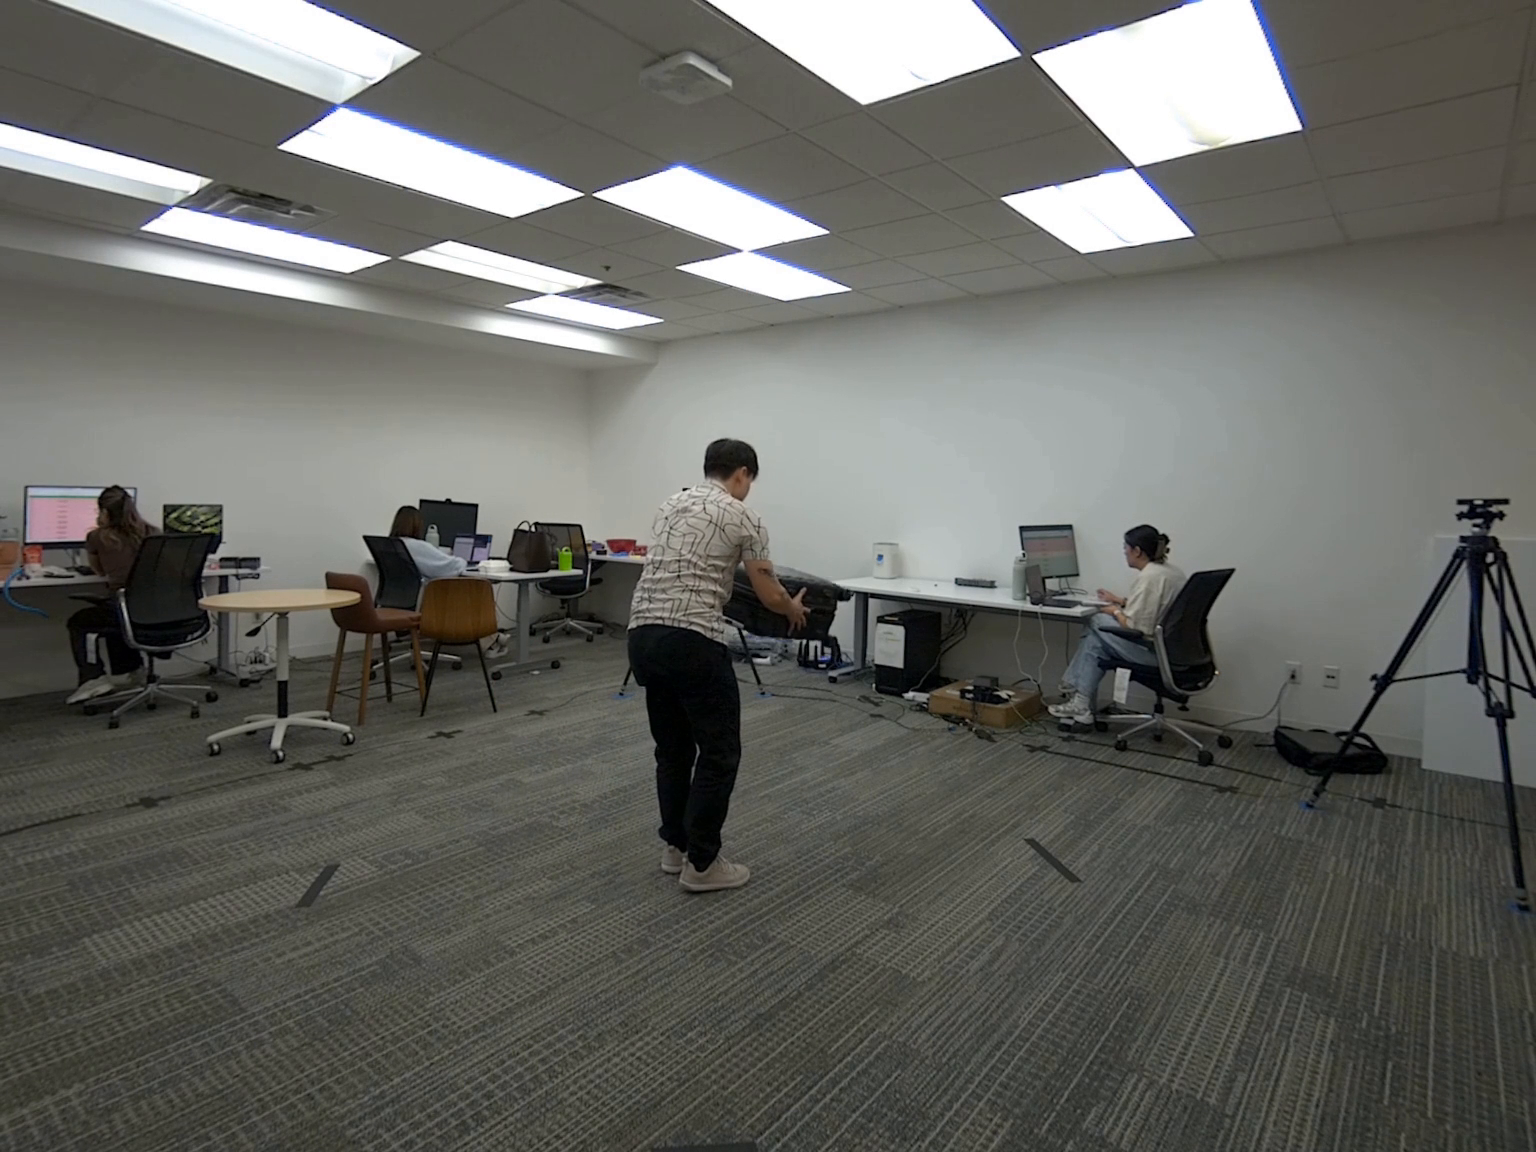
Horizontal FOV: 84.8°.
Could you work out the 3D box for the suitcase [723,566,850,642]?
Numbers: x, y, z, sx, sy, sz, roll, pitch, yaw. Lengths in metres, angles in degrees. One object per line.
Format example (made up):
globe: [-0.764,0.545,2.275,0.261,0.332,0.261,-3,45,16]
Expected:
suitcase: [0.029,0.098,3.529,0.390,0.248,0.529,20,6,40]
